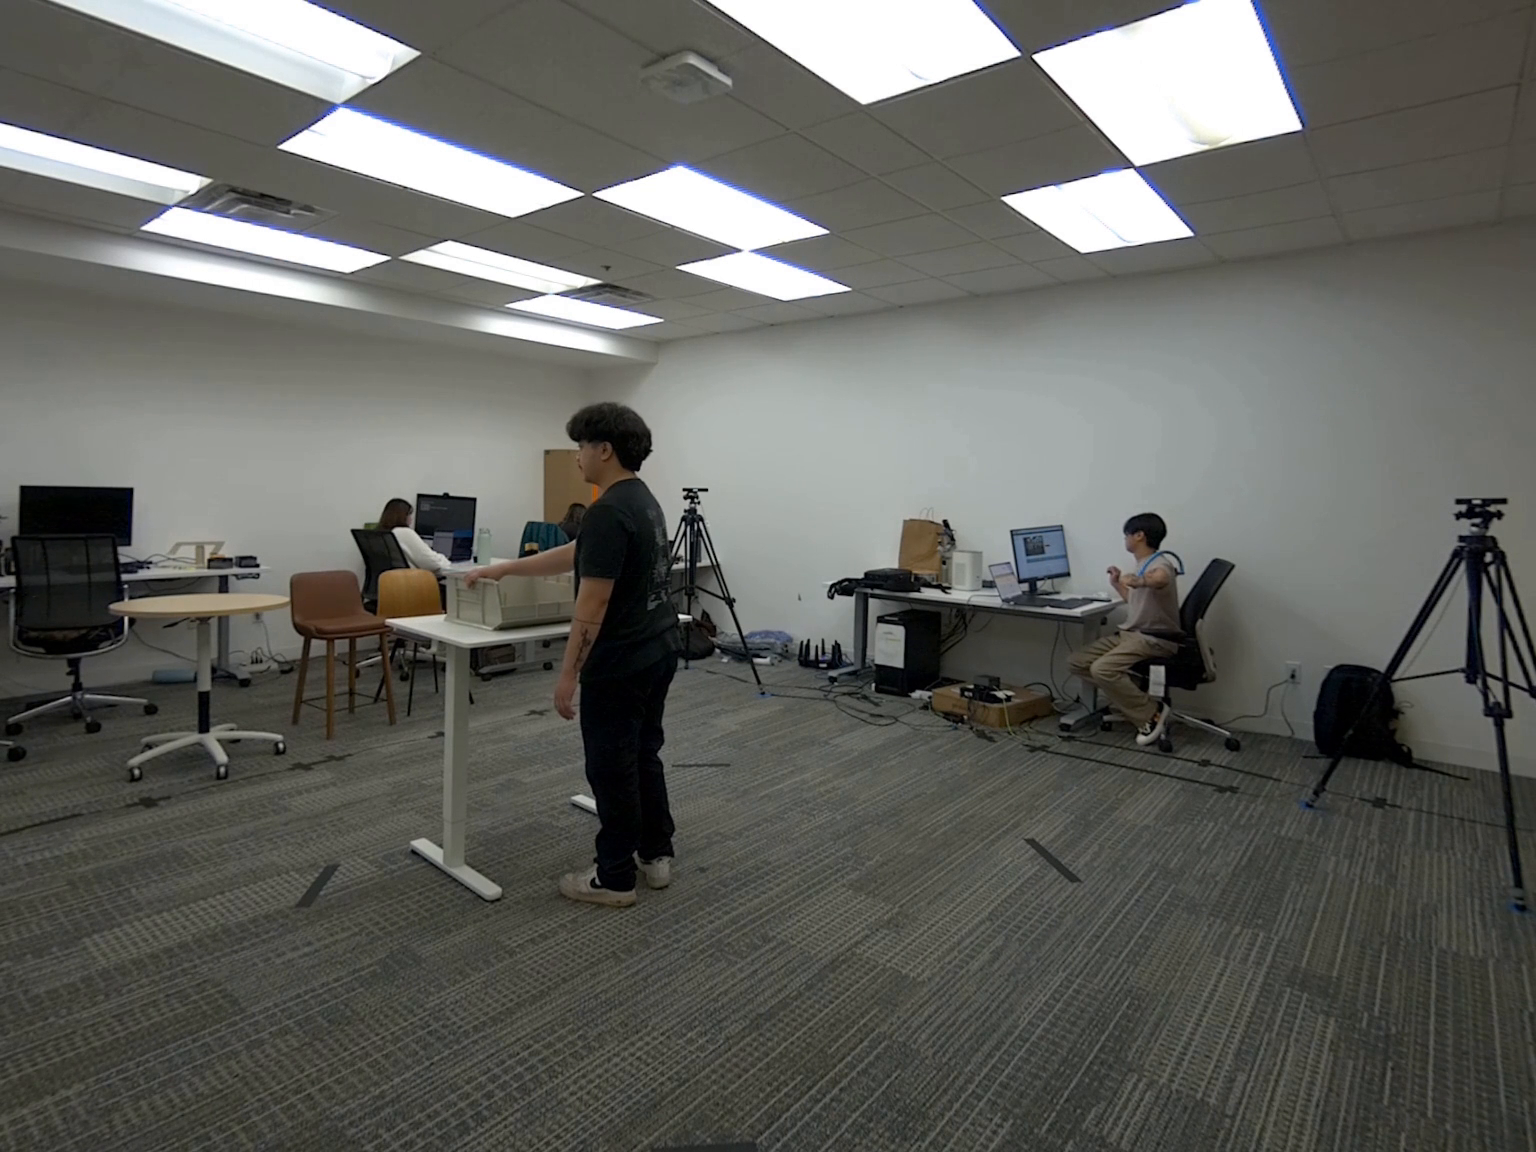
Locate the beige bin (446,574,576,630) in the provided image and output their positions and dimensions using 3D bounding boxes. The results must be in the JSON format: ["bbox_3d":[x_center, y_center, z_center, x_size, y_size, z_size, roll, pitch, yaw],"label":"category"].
[{"bbox_3d":[-0.943,0.080,3.184,0.390,0.188,0.410,4,5,40],"label":"beige bin"}]
